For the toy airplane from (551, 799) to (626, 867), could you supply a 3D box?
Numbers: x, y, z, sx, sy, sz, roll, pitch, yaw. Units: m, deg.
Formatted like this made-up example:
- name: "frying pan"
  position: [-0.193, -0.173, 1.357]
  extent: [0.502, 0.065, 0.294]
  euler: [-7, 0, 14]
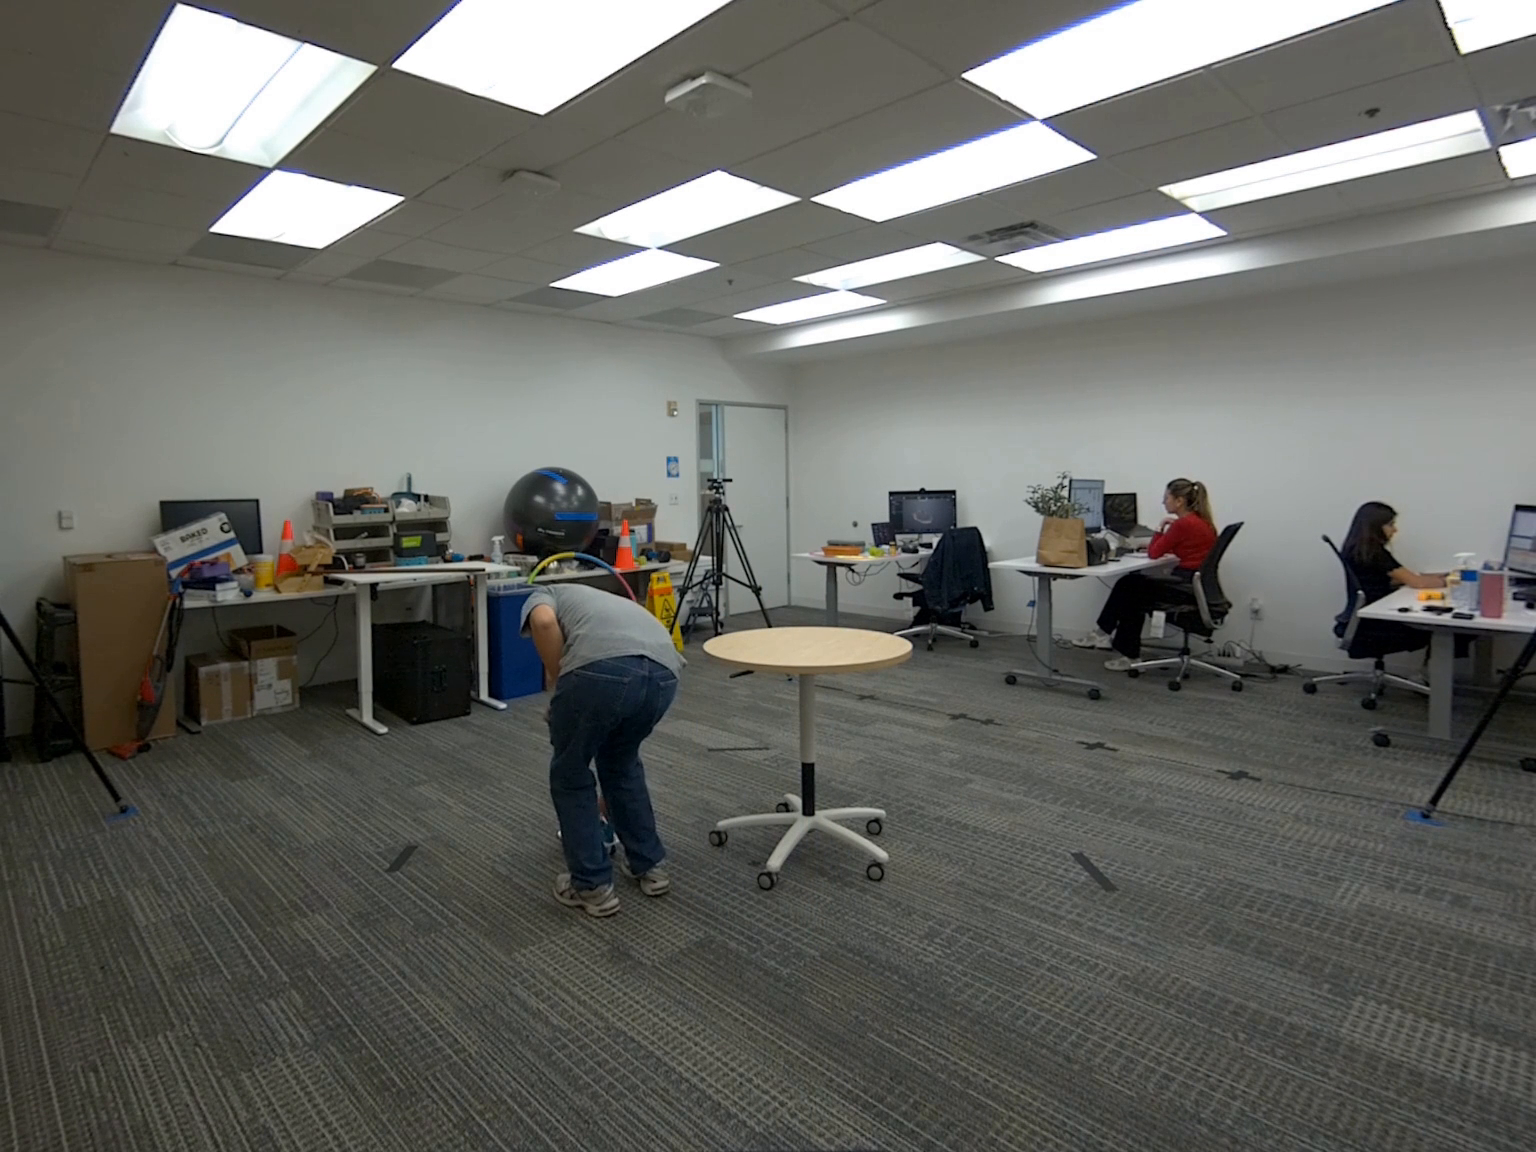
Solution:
- name: "toy airplane"
  position: [-0.648, 0.962, 3.276]
  extent: [0.264, 0.156, 0.248]
  euler: [0, 6, 18]
